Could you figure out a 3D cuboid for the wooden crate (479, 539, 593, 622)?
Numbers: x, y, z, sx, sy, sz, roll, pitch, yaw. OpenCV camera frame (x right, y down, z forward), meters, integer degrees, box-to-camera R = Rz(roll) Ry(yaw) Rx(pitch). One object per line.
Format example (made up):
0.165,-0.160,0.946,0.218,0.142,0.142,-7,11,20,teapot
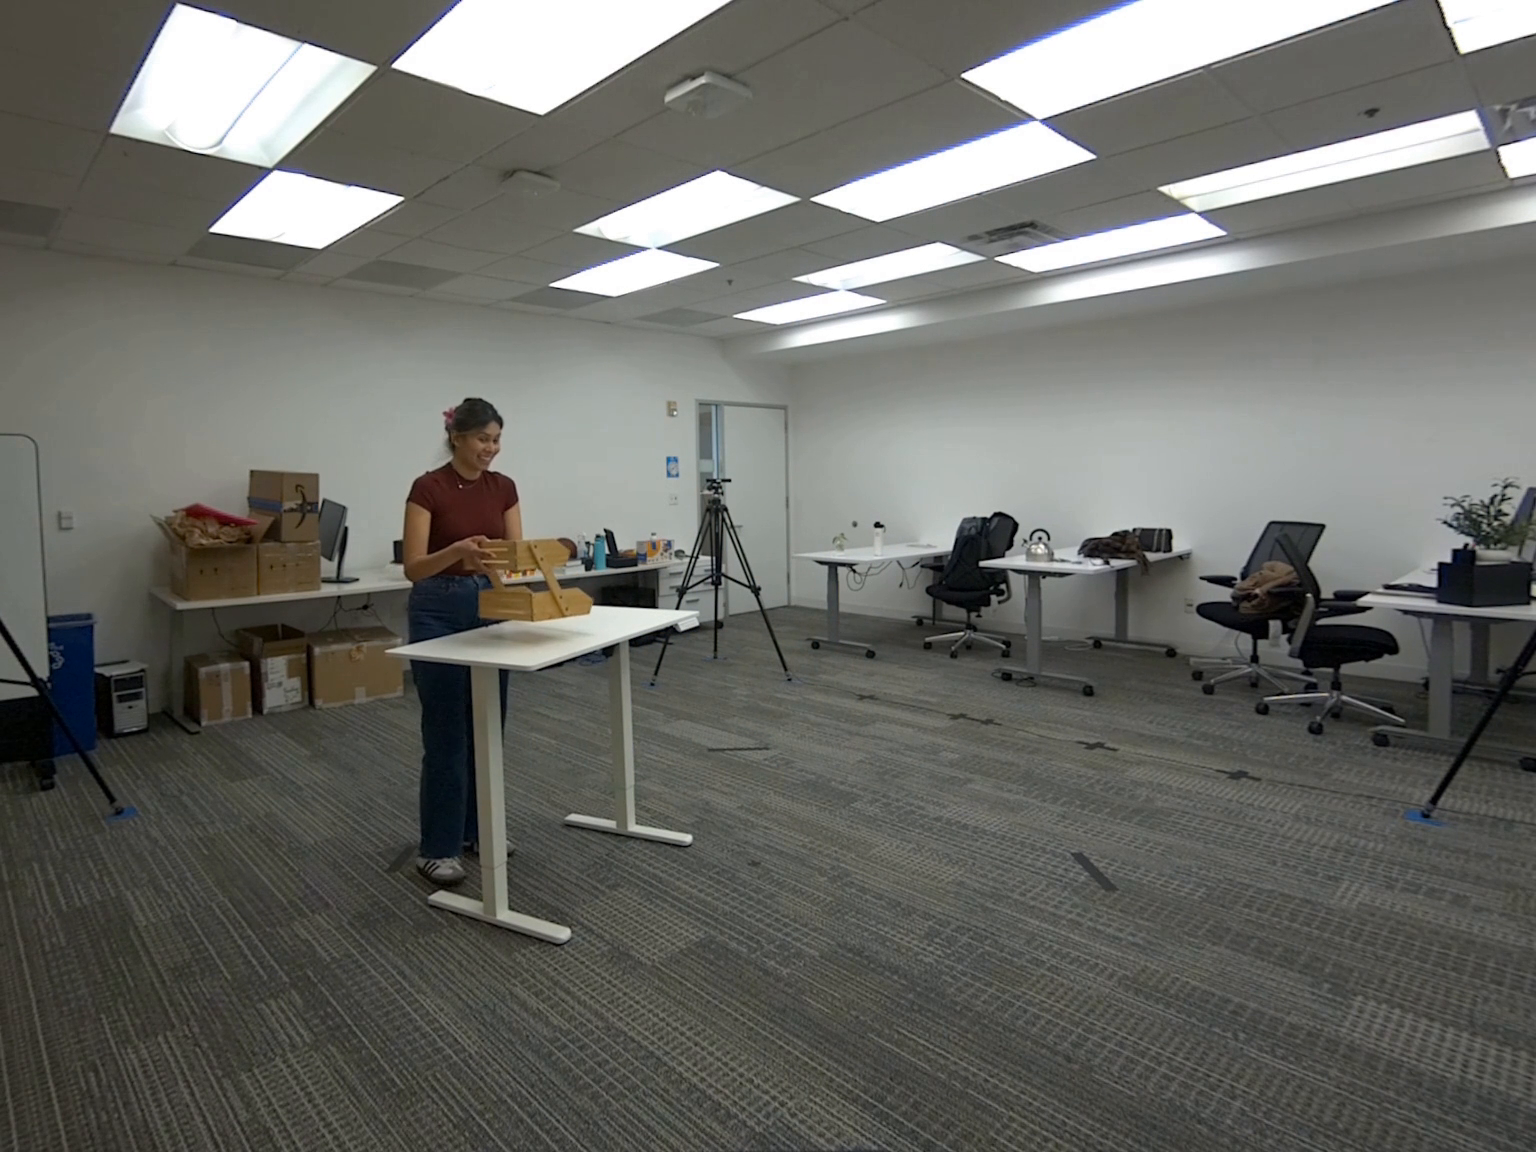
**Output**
-0.802,0.004,2.857,0.333,0.273,0.294,-1,4,39,wooden crate
